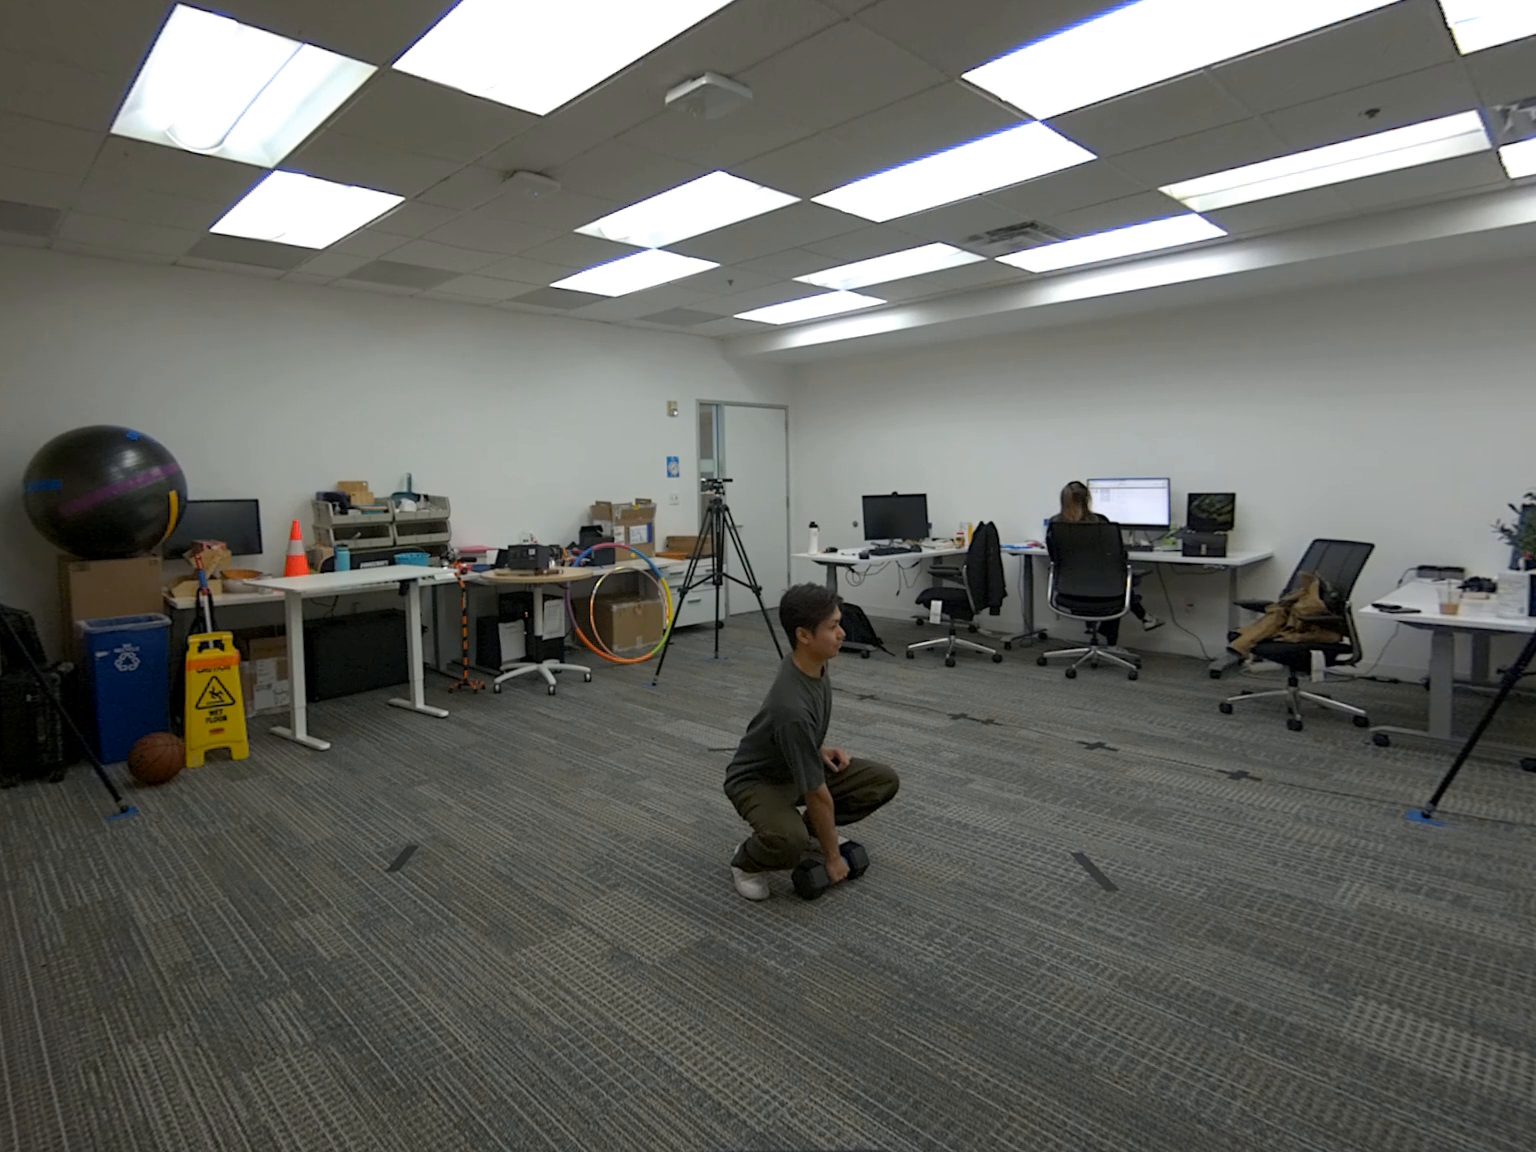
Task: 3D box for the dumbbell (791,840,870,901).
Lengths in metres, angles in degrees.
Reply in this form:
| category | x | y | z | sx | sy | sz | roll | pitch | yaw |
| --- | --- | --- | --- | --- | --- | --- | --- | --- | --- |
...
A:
| category | x | y | z | sx | sy | sz | roll | pitch | yaw |
| --- | --- | --- | --- | --- | --- | --- | --- | --- | --- |
| dumbbell | 0.208 | 1.002 | 2.927 | 0.286 | 0.121 | 0.113 | -7 | 39 | -41 |
